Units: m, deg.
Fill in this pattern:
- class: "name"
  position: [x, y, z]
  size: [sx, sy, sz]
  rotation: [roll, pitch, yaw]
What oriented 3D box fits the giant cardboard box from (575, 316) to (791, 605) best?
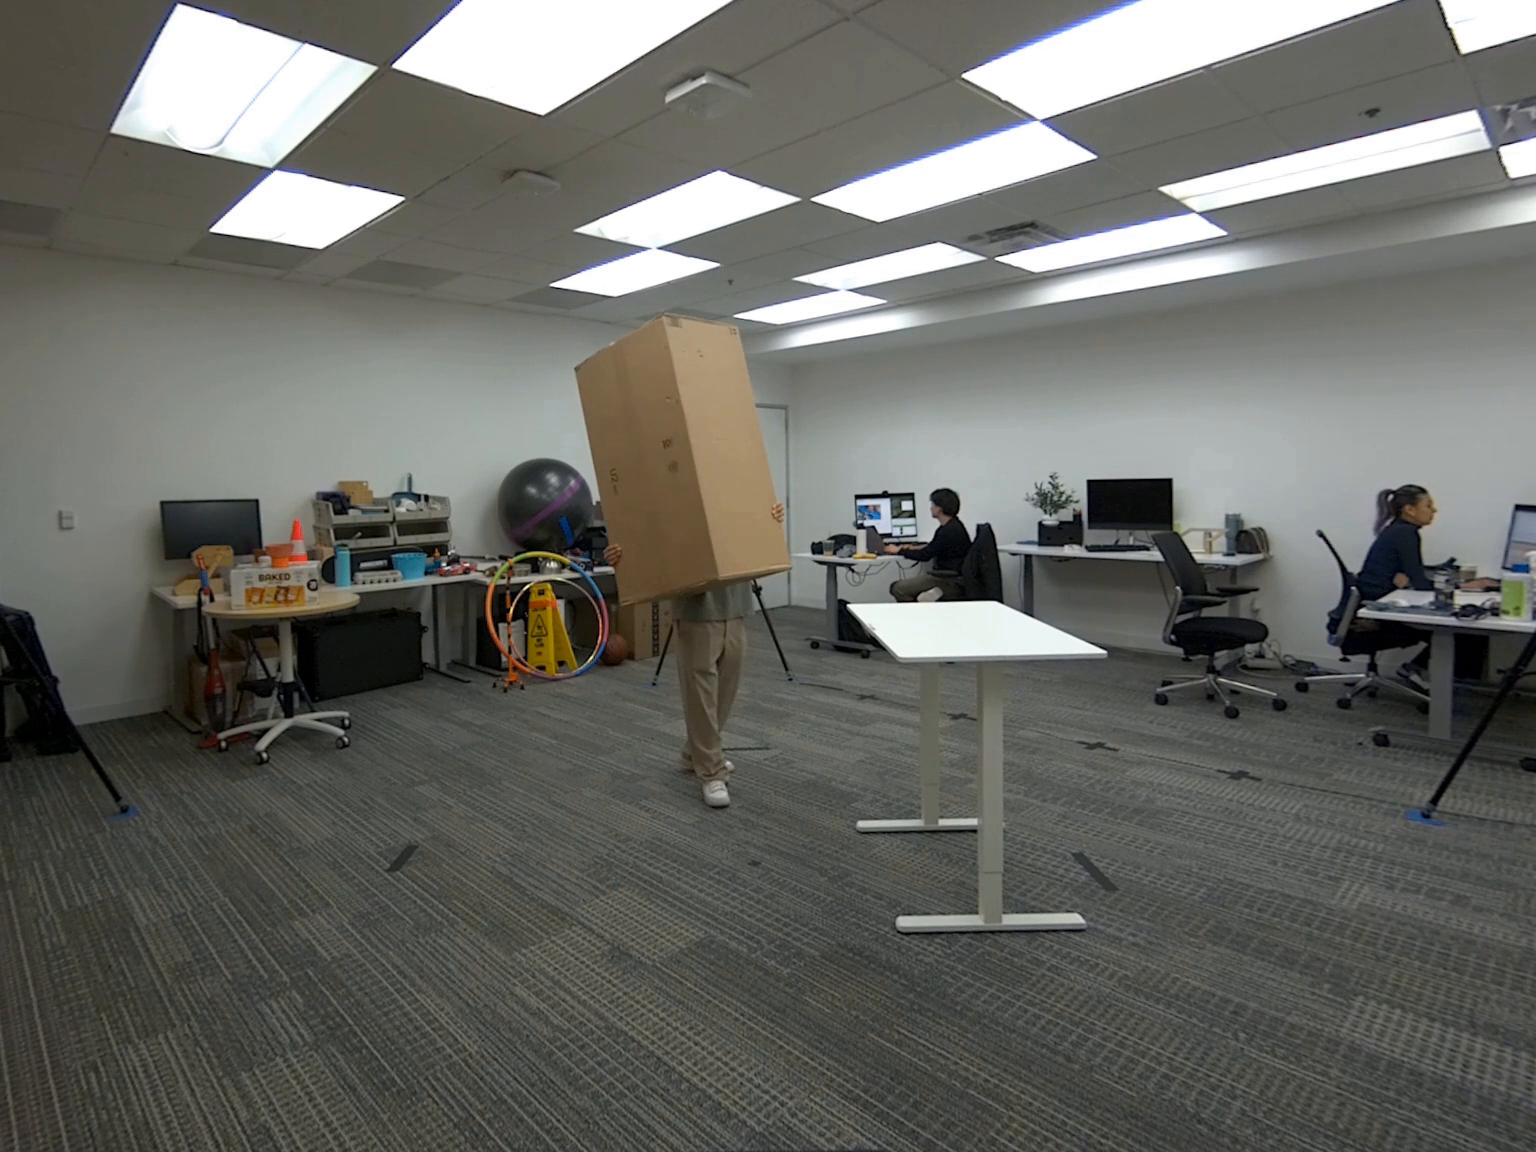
- class: "giant cardboard box"
  position: [-0.353, -0.444, 3.469]
  size: [0.589, 1.033, 0.415]
  rotation: [-17, -8, 42]
